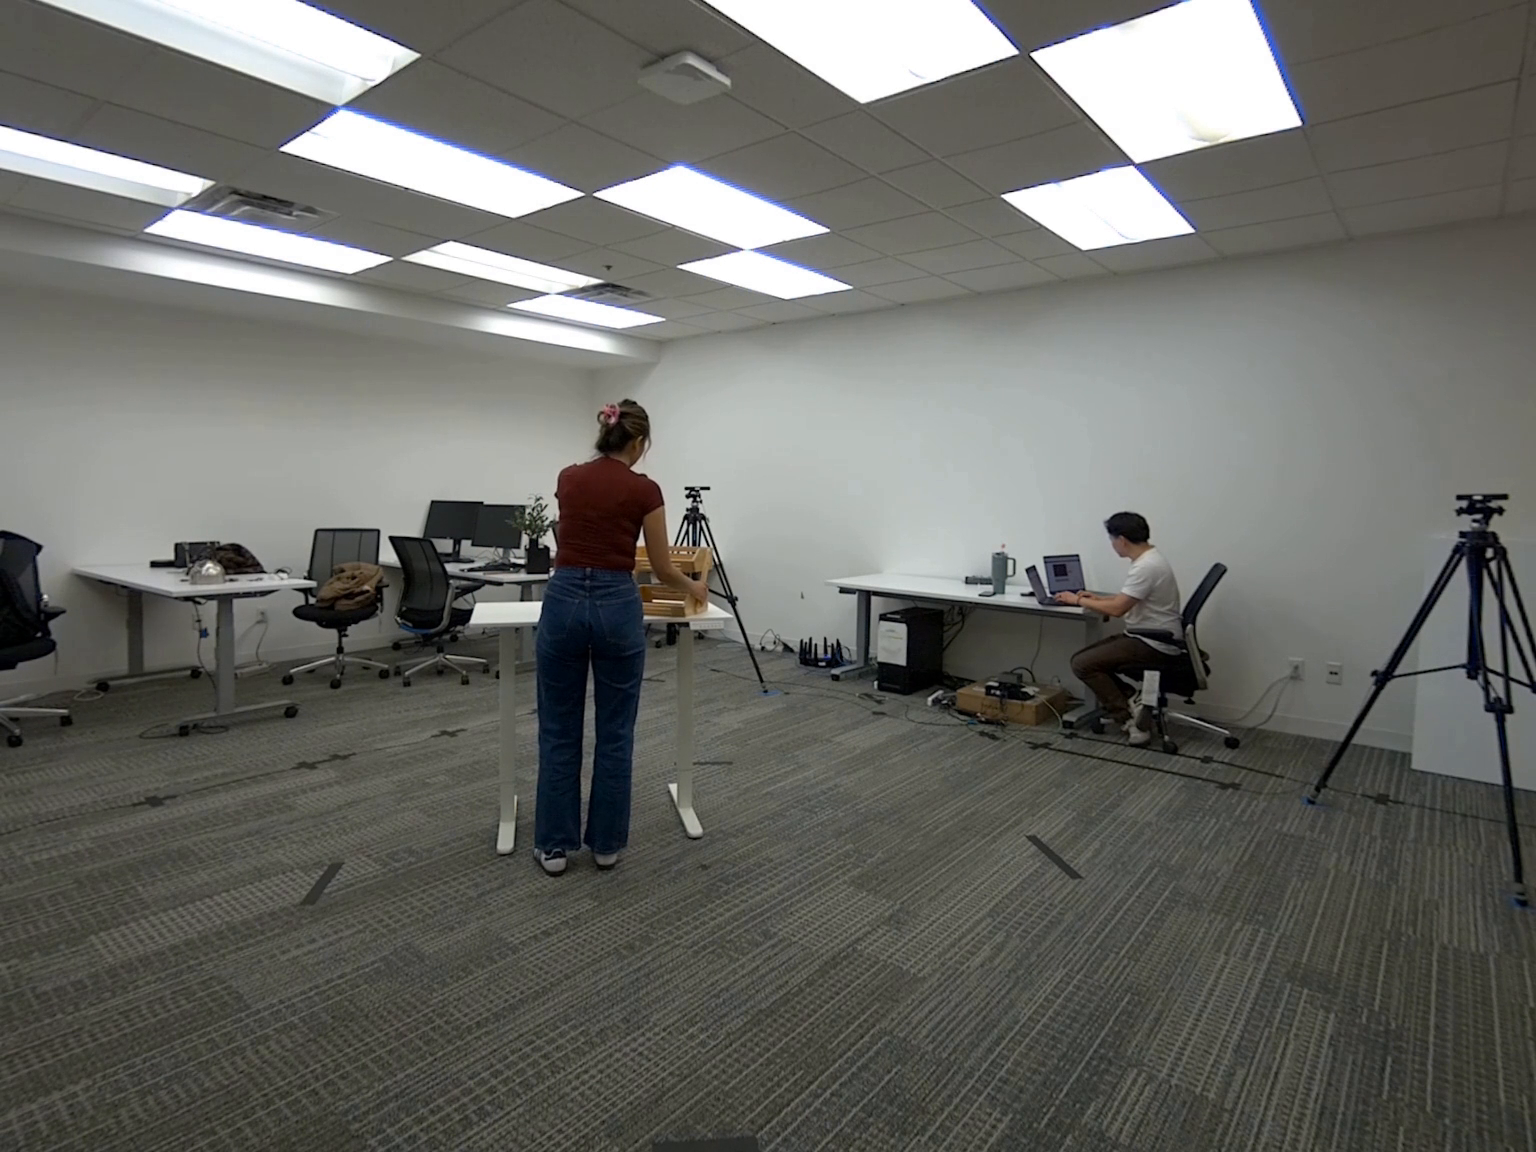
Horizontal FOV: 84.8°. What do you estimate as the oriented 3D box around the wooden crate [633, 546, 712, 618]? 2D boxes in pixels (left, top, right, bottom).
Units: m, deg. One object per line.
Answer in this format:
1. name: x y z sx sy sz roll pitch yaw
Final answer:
1. wooden crate: -0.434 0.010 3.482 0.331 0.273 0.296 2 4 20
